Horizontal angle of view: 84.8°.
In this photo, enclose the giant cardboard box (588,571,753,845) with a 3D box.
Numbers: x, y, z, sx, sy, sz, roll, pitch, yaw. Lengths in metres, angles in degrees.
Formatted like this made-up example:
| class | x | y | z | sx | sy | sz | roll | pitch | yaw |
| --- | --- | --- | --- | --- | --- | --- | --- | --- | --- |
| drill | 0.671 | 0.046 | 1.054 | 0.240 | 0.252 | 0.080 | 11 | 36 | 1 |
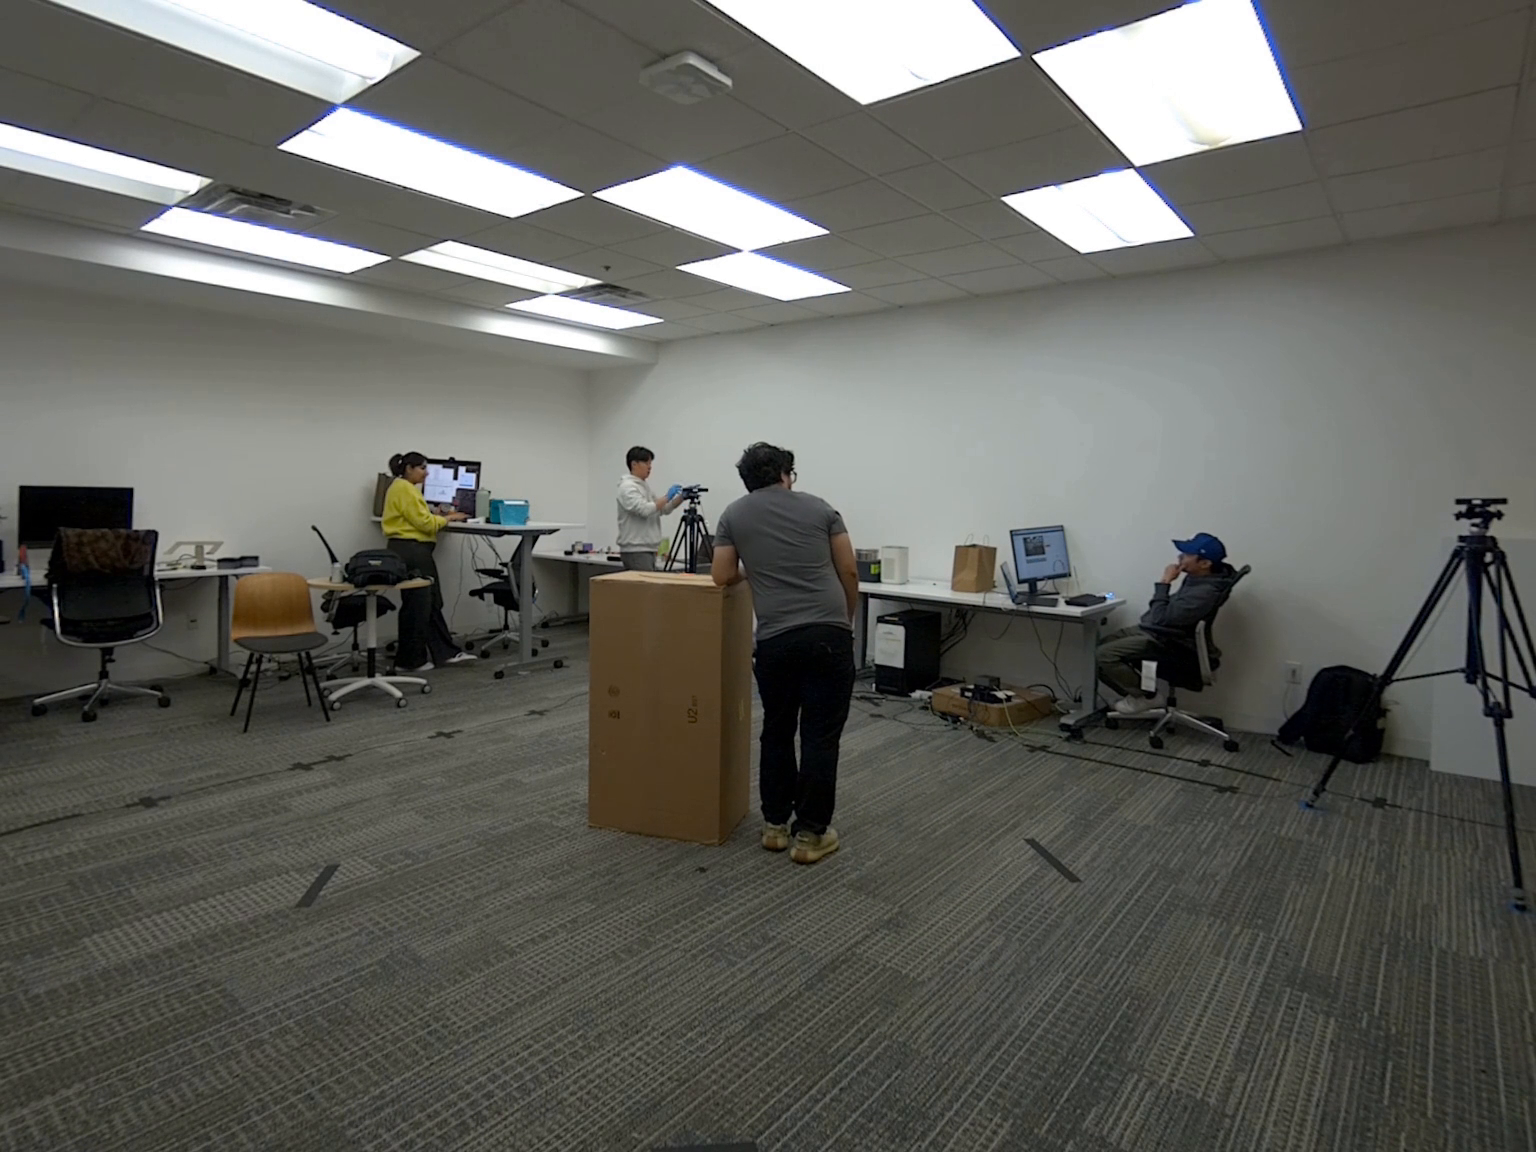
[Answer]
| class | x | y | z | sx | sy | sz | roll | pitch | yaw |
| --- | --- | --- | --- | --- | --- | --- | --- | --- | --- |
| giant cardboard box | -0.417 | 0.511 | 3.587 | 0.589 | 1.023 | 0.419 | 2 | 3 | 19 |
